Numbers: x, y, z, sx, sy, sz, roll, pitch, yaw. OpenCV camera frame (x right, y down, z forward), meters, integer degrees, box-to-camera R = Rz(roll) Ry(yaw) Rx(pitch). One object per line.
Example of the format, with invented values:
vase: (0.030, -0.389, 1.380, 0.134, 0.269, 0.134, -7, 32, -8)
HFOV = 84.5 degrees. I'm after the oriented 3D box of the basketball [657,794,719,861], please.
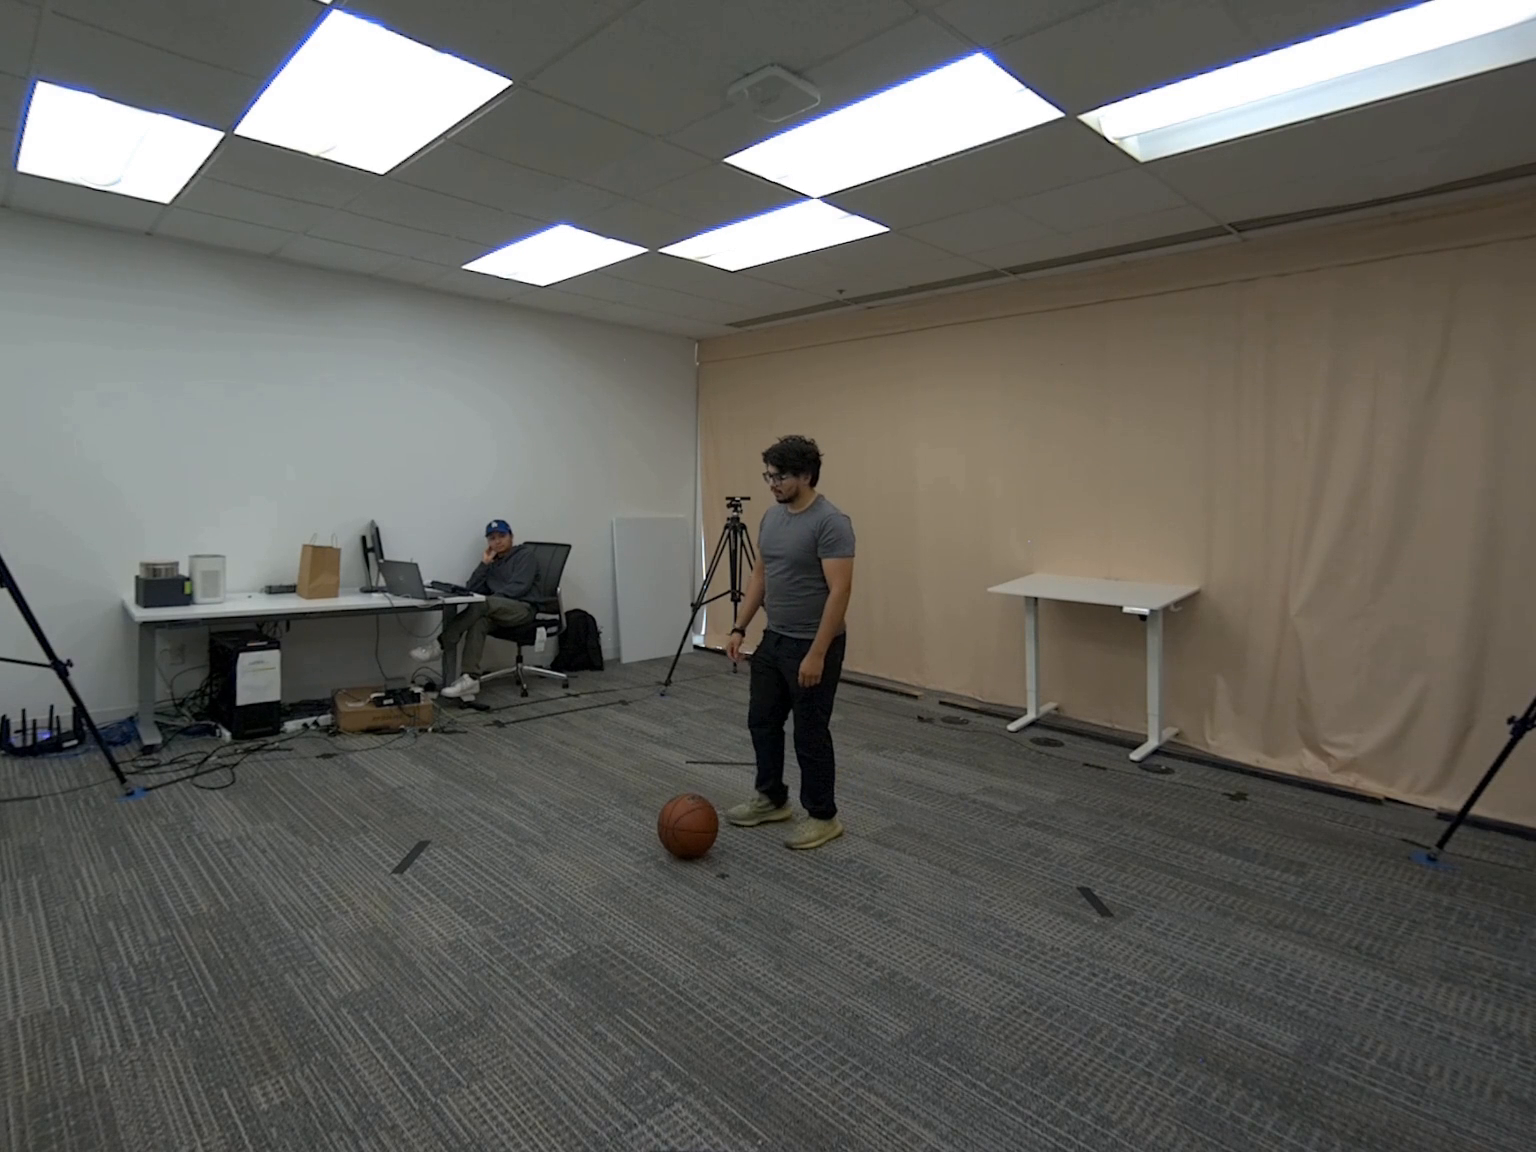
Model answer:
basketball: (-0.315, 0.964, 3.263, 0.236, 0.235, 0.237, 1, 4, -1)
